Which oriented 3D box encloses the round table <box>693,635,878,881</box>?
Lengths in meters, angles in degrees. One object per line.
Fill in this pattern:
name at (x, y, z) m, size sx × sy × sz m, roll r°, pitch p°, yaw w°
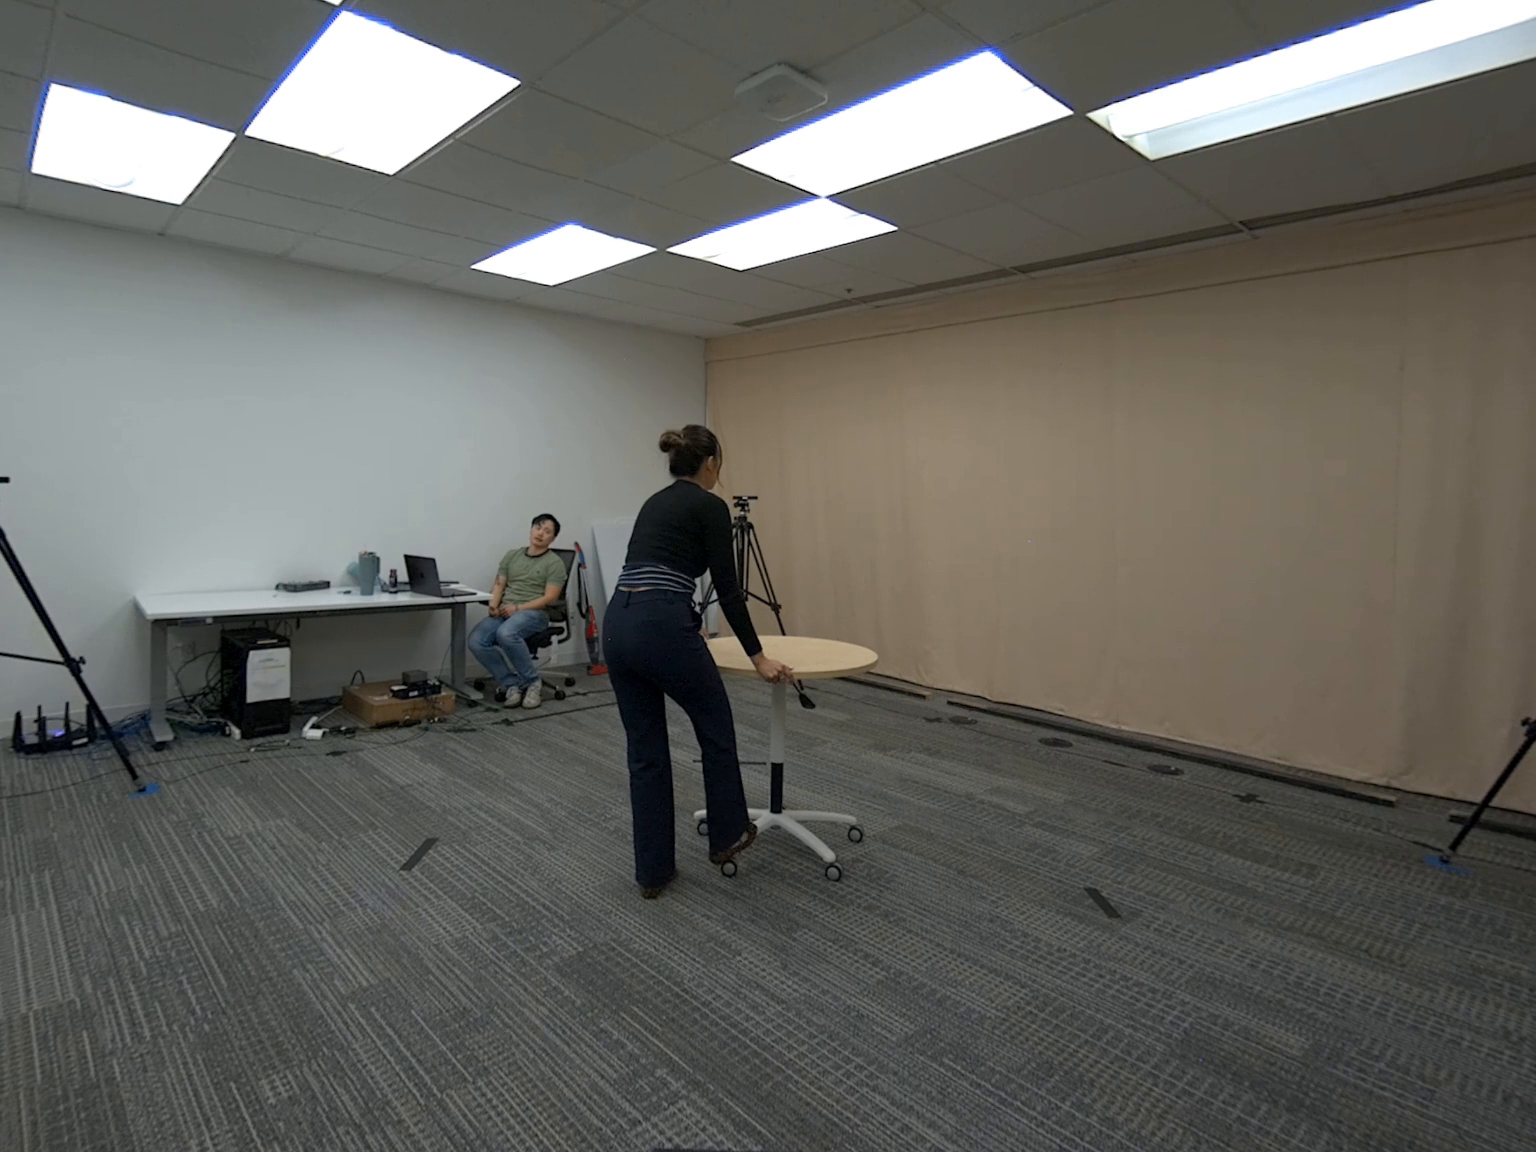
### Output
round table at (0.033, 0.695, 3.349) m, size 0.763 × 0.792 × 0.766 m, roll 1°, pitch 4°, yaw -1°
